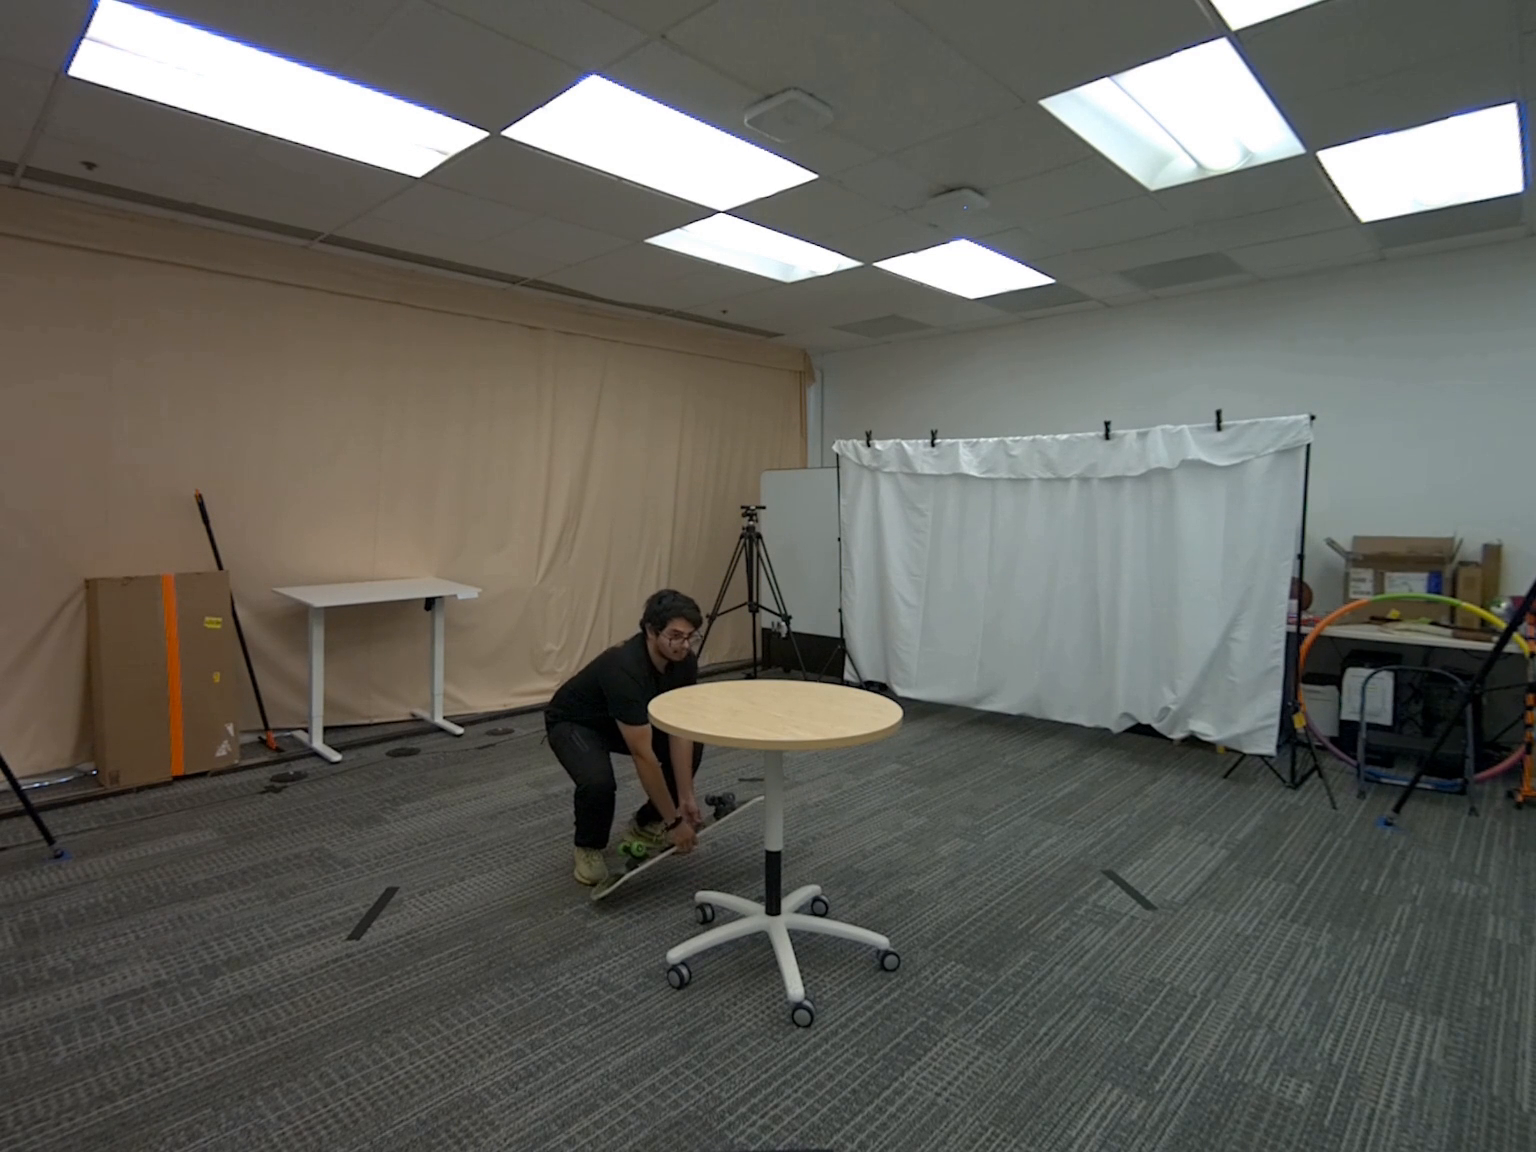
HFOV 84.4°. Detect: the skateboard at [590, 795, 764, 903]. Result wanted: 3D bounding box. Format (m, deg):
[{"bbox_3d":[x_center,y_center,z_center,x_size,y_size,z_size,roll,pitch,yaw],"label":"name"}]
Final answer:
[{"bbox_3d":[-0.332,0.946,3.102,0.770,0.111,0.195,-23,-7,-30],"label":"skateboard"}]
